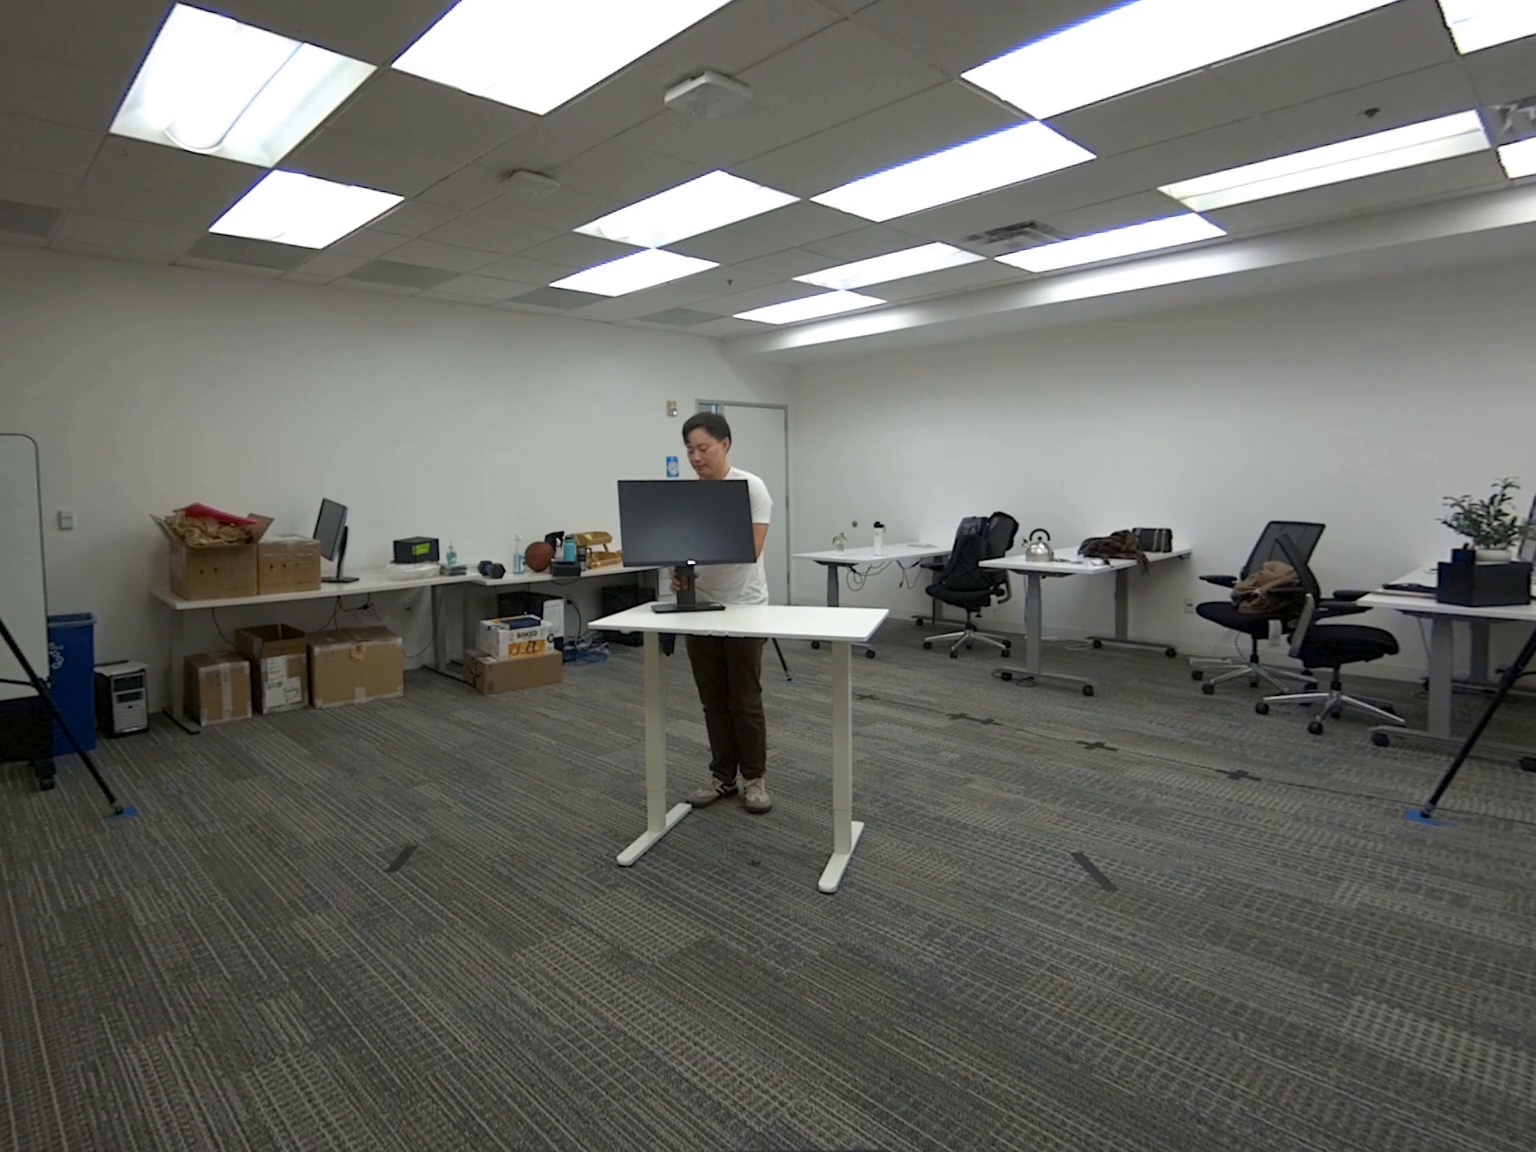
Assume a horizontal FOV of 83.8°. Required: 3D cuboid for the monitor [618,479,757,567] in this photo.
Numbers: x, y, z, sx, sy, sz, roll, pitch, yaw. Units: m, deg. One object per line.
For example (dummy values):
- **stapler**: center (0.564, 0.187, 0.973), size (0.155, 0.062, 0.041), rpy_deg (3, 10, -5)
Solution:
- **monitor**: center (-0.335, -0.123, 3.408), size (0.531, 0.523, 0.190), rpy_deg (-2, 0, -16)
